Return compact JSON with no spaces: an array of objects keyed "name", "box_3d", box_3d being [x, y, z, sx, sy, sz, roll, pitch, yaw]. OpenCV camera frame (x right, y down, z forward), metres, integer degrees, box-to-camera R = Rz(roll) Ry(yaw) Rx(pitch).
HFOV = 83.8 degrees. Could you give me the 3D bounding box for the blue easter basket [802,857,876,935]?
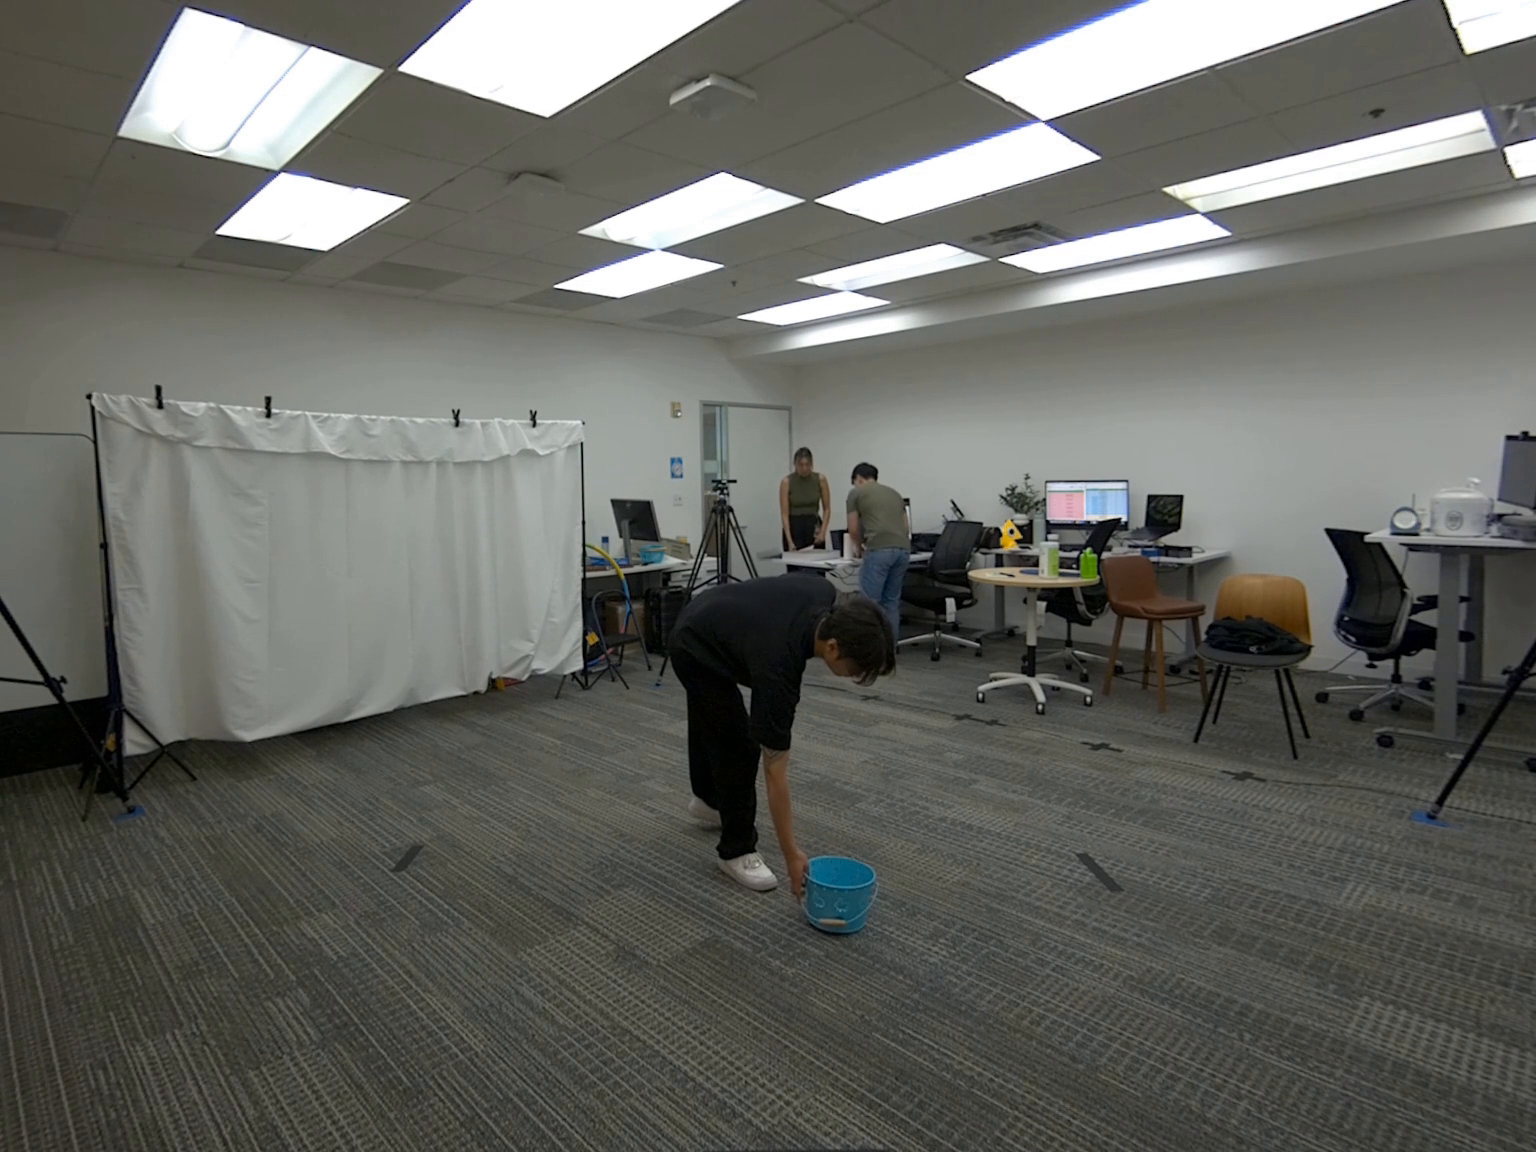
[{"name":"blue easter basket","box_3d":[0.221,1.005,2.689,0.243,0.155,0.244,2,3,-2]}]
